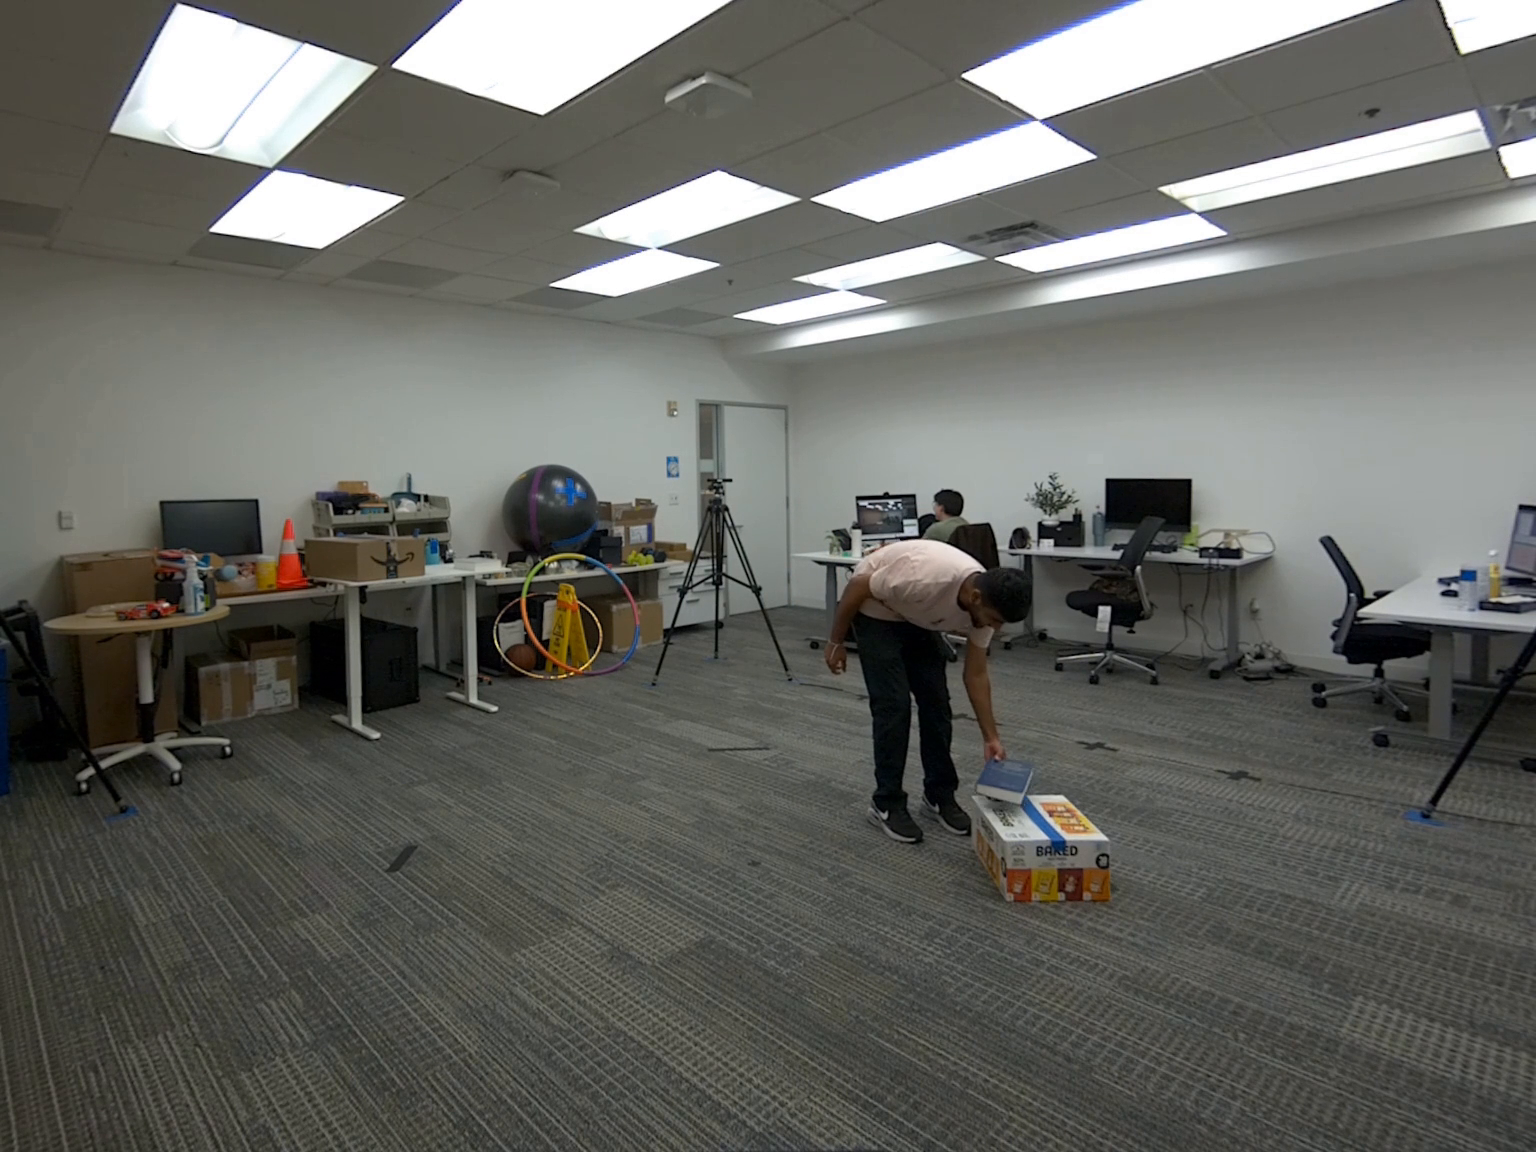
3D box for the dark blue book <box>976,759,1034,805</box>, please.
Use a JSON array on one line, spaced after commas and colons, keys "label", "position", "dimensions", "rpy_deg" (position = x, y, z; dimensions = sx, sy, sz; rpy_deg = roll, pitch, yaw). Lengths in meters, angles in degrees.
[{"label": "dark blue book", "position": [0.876, 0.729, 3.115], "dimensions": [0.168, 0.045, 0.241], "rpy_deg": [7, 15, 26]}]
